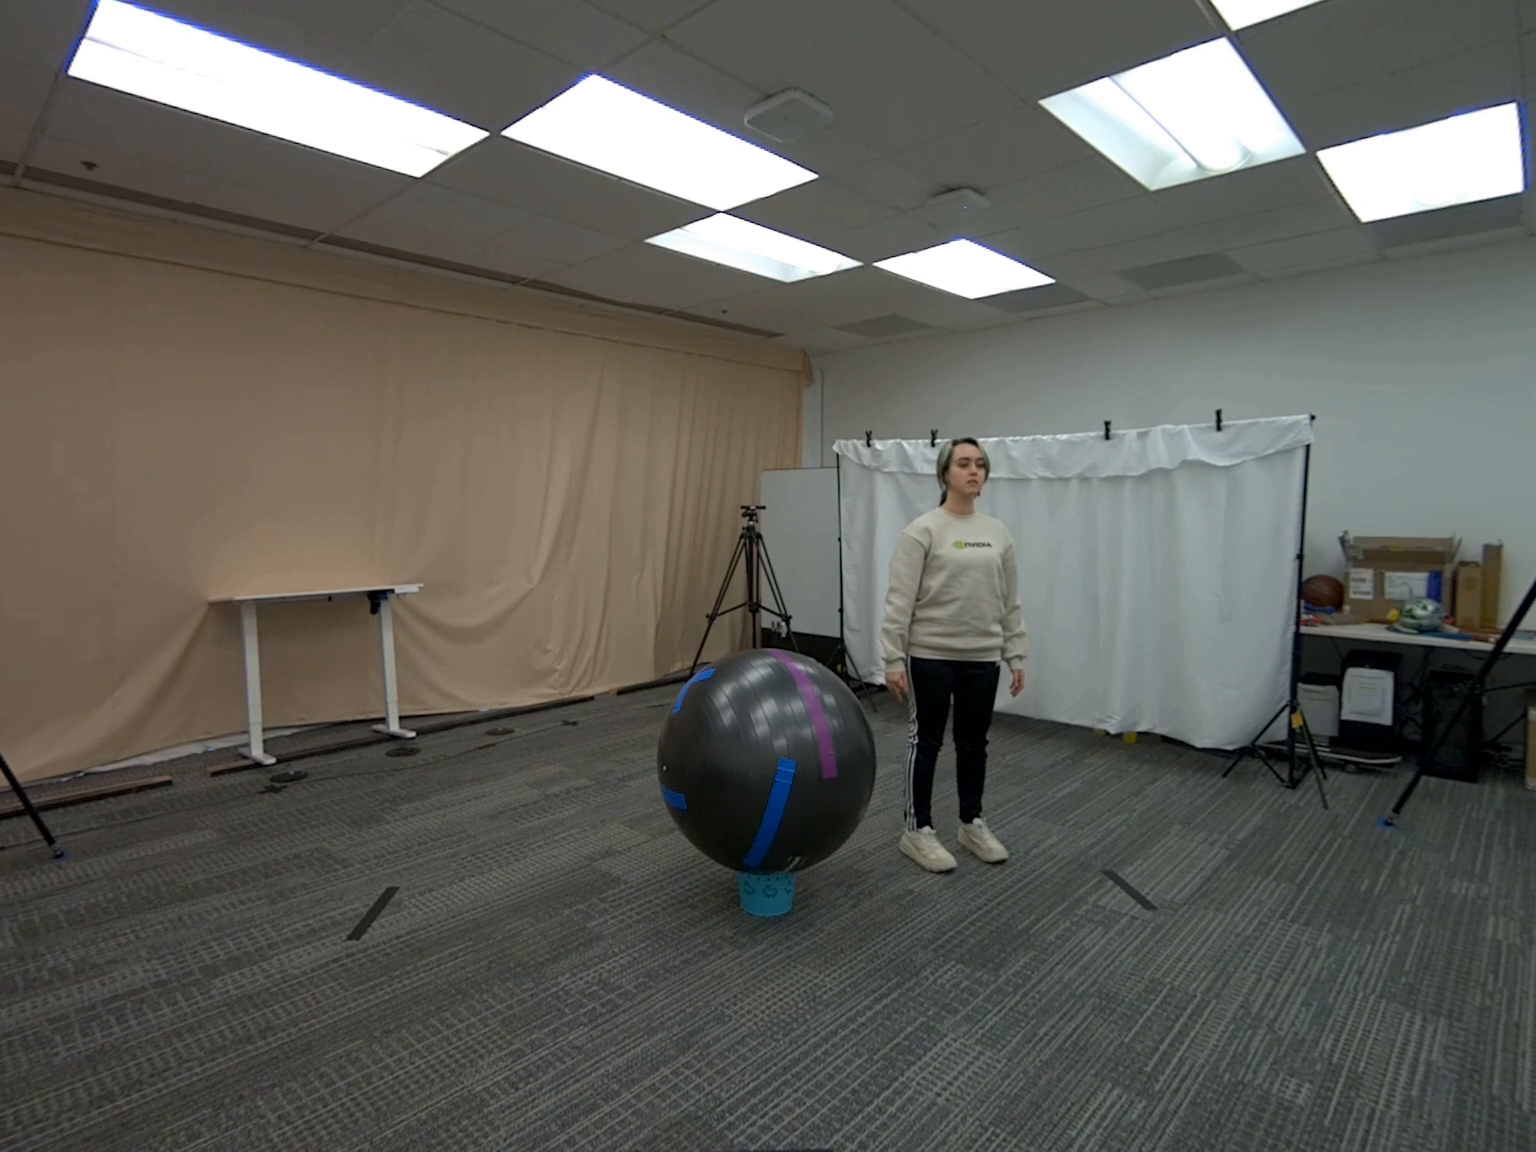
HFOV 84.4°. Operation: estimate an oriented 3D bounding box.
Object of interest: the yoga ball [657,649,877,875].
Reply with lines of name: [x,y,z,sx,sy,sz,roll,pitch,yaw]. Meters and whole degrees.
yoga ball: [-0.002,0.633,2.925,0.757,0.756,0.760,0,4,-2]
